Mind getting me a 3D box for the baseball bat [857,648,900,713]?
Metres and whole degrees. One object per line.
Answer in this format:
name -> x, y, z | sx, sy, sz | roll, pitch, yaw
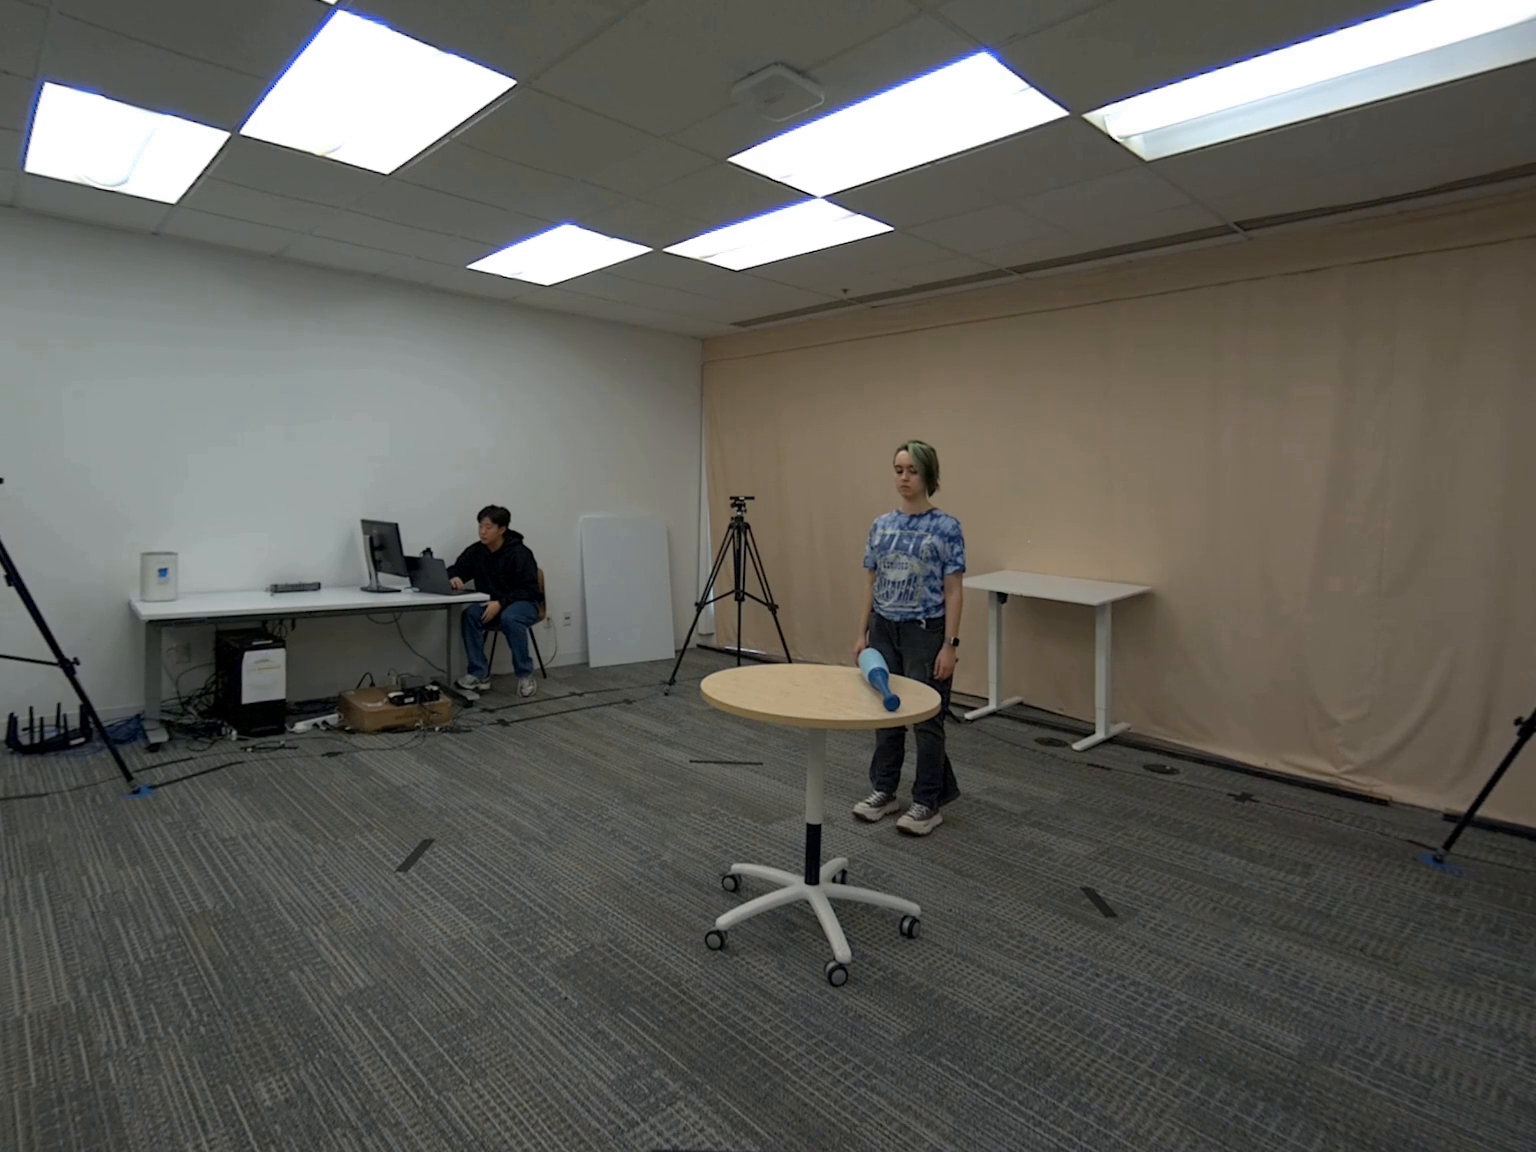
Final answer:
baseball bat -> 0.355, 0.336, 2.696 | 0.089, 0.088, 0.546 | 1, 8, -2
